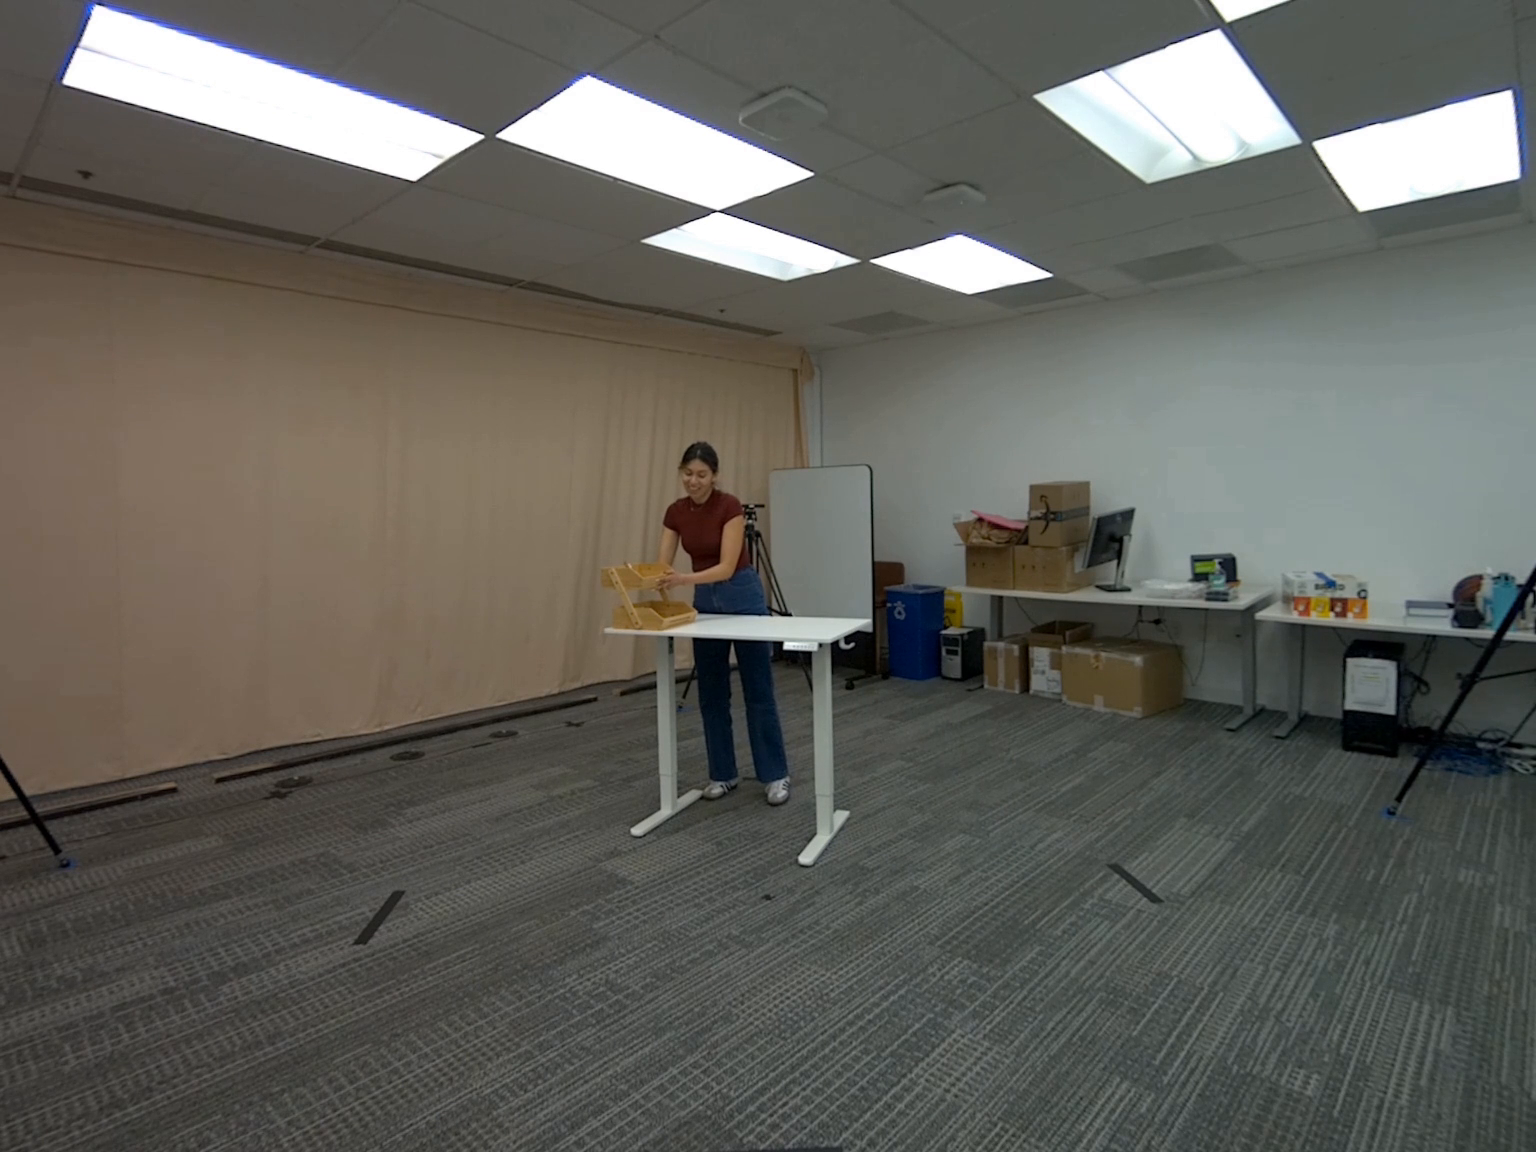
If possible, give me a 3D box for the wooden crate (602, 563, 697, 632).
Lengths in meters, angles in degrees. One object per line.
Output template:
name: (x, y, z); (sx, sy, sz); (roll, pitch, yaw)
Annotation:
wooden crate: (-0.509, 0.080, 3.652); (0.309, 0.273, 0.317); (-1, 3, 24)
